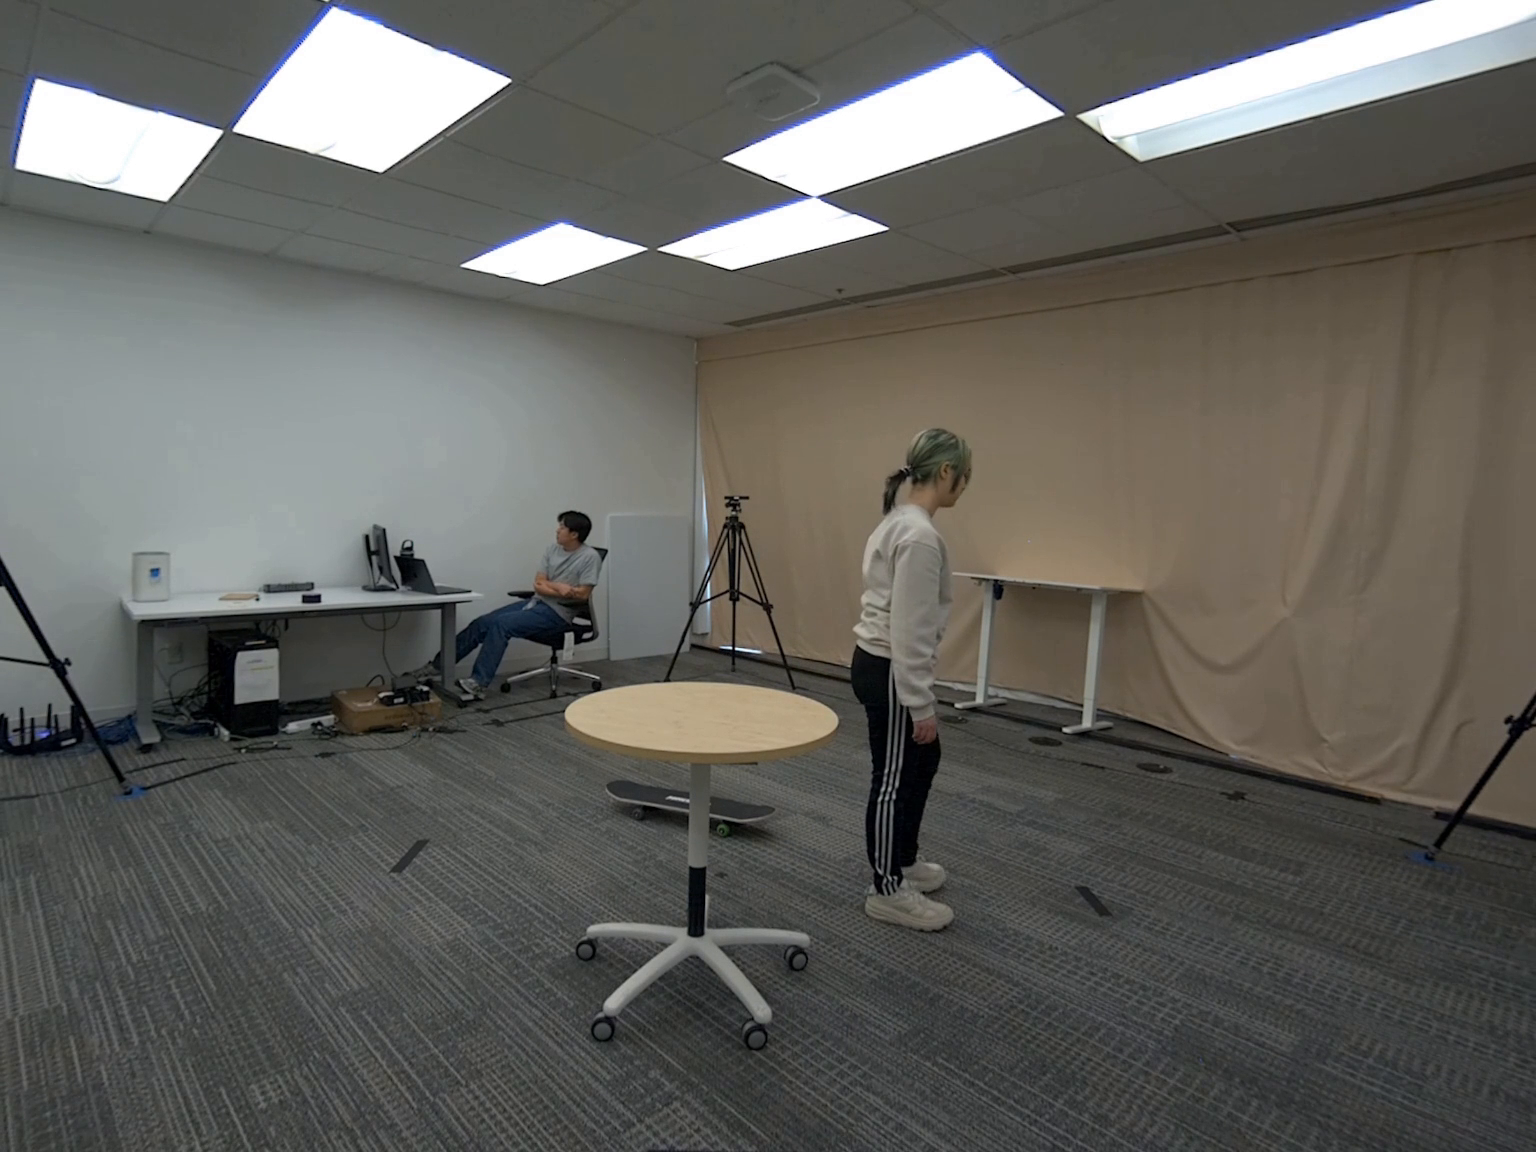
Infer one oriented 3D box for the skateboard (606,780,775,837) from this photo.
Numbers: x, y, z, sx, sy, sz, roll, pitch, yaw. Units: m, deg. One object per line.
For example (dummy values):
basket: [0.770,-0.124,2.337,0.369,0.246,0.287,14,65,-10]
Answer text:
skateboard: [-0.355,0.995,3.614,0.800,0.110,0.190,4,5,23]
